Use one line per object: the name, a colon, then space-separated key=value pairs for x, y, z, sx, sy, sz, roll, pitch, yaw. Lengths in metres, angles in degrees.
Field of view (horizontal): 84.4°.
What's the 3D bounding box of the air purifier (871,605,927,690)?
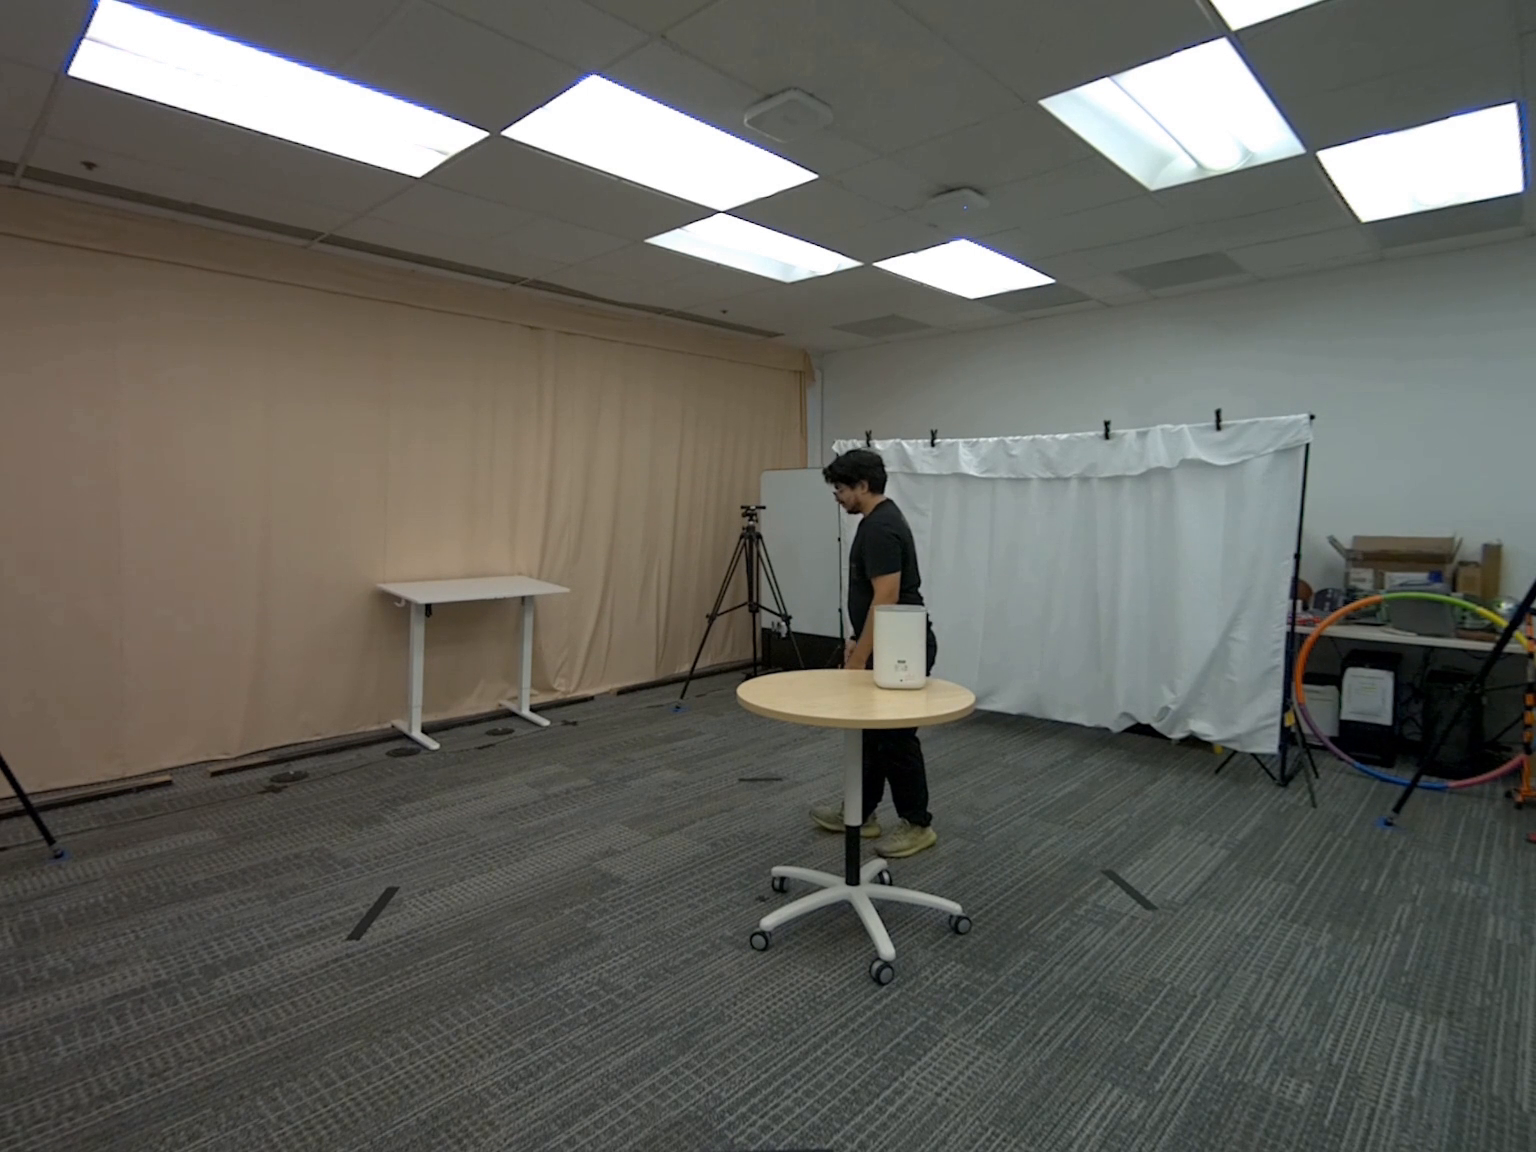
air purifier: x=0.443 y=0.237 z=2.841 sx=0.172 sy=0.265 sz=0.171 roll=1 pitch=3 yaw=4
